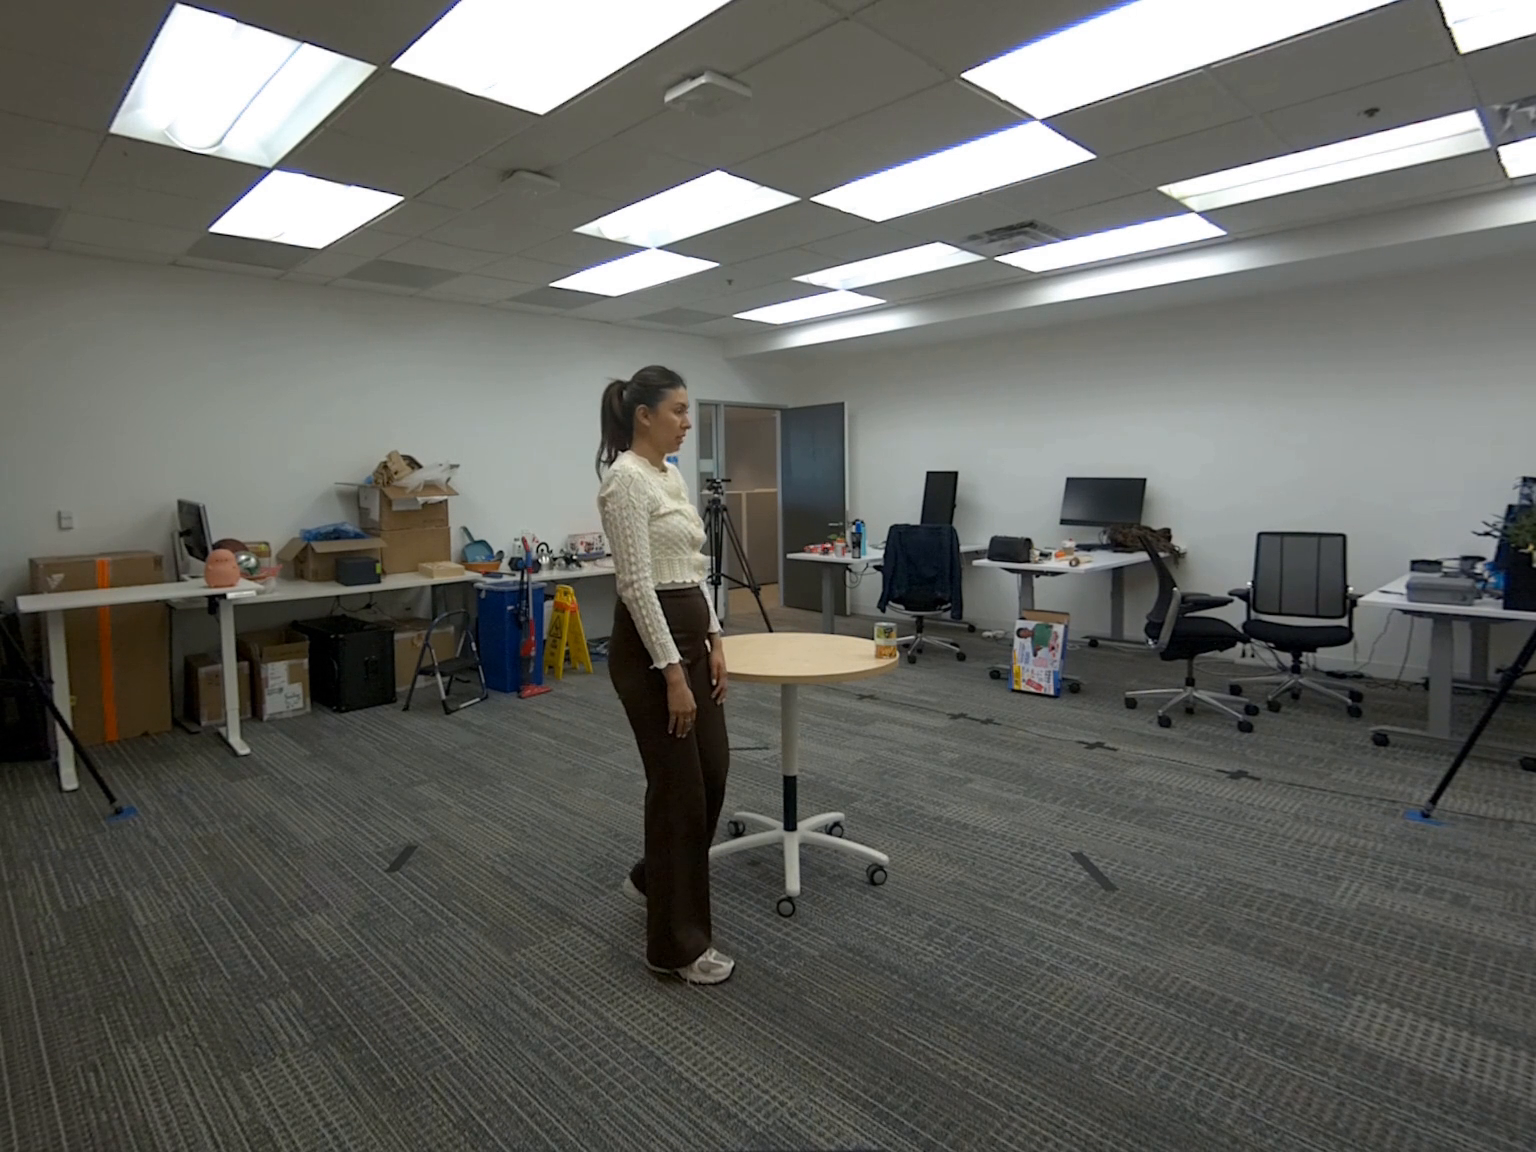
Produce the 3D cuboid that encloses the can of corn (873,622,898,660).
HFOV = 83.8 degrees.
[{"bbox_3d":[0.407,0.220,2.907,0.074,0.110,0.075,1,7,-2],"label":"can of corn"}]
